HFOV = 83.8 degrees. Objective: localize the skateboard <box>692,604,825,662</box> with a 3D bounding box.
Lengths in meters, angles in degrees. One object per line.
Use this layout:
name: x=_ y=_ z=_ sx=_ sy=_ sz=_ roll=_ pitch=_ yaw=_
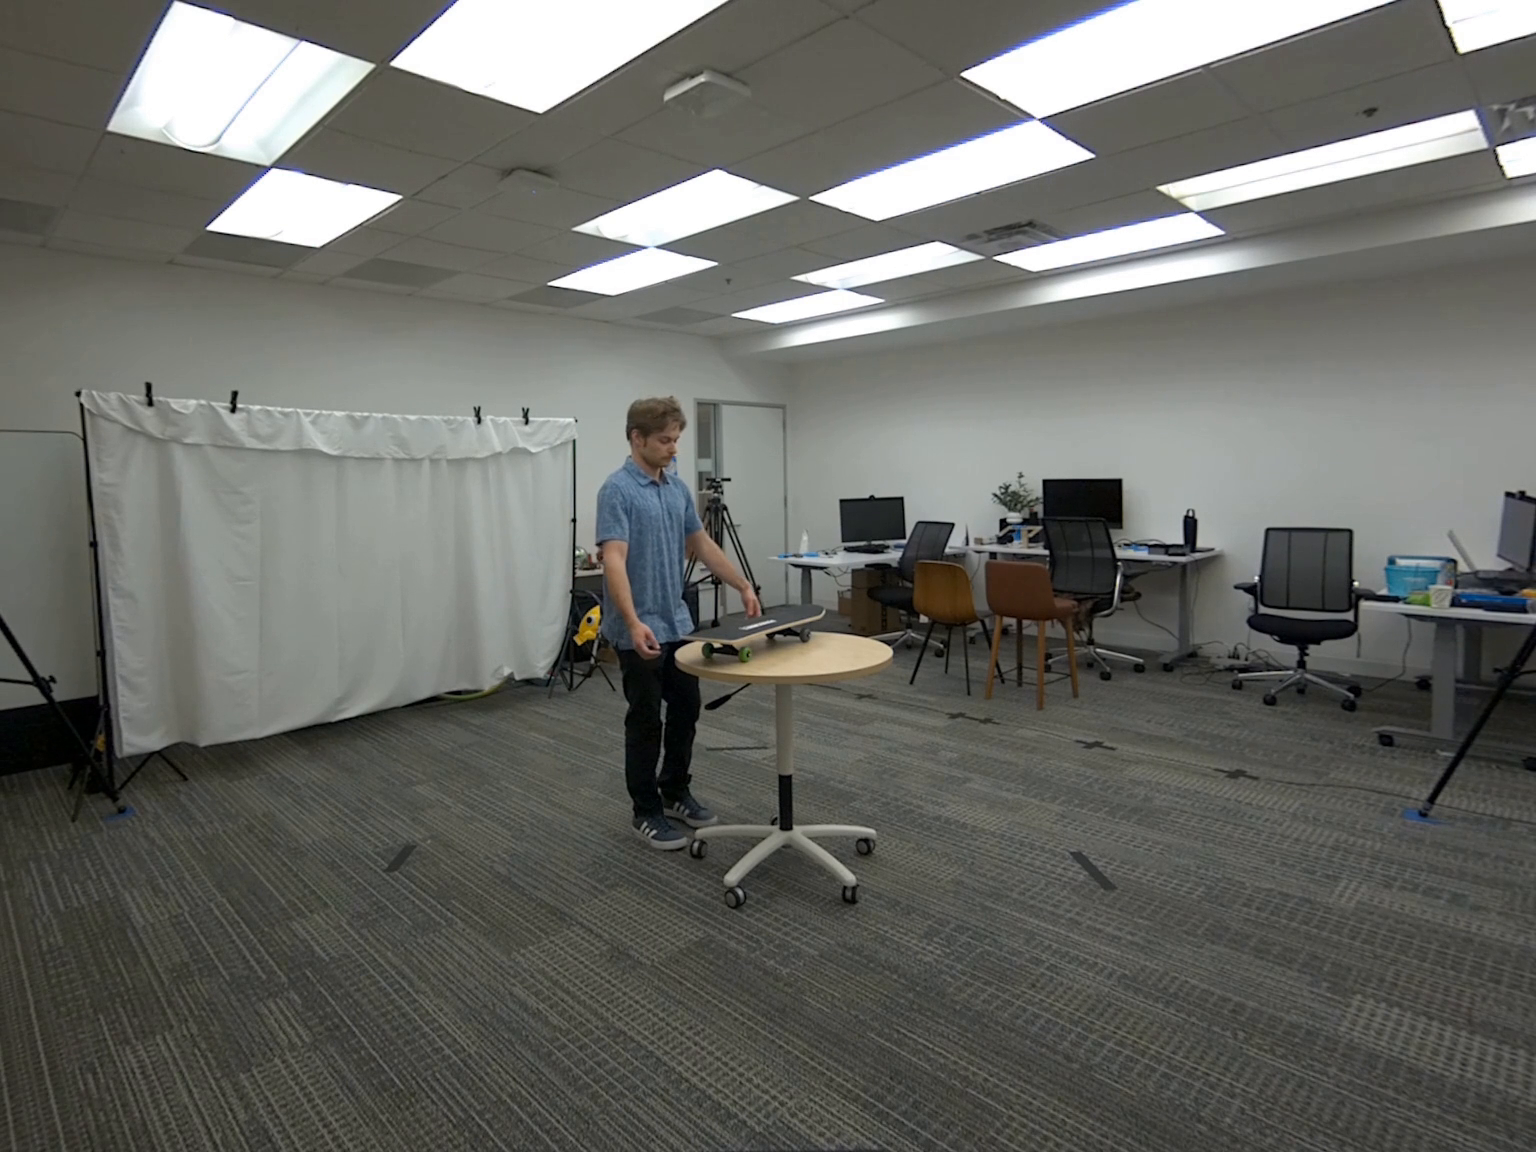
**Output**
skateboard: x=-0.034 y=0.213 z=3.057 sx=0.199 sy=0.110 sz=0.767 roll=2 pitch=7 yaw=34
